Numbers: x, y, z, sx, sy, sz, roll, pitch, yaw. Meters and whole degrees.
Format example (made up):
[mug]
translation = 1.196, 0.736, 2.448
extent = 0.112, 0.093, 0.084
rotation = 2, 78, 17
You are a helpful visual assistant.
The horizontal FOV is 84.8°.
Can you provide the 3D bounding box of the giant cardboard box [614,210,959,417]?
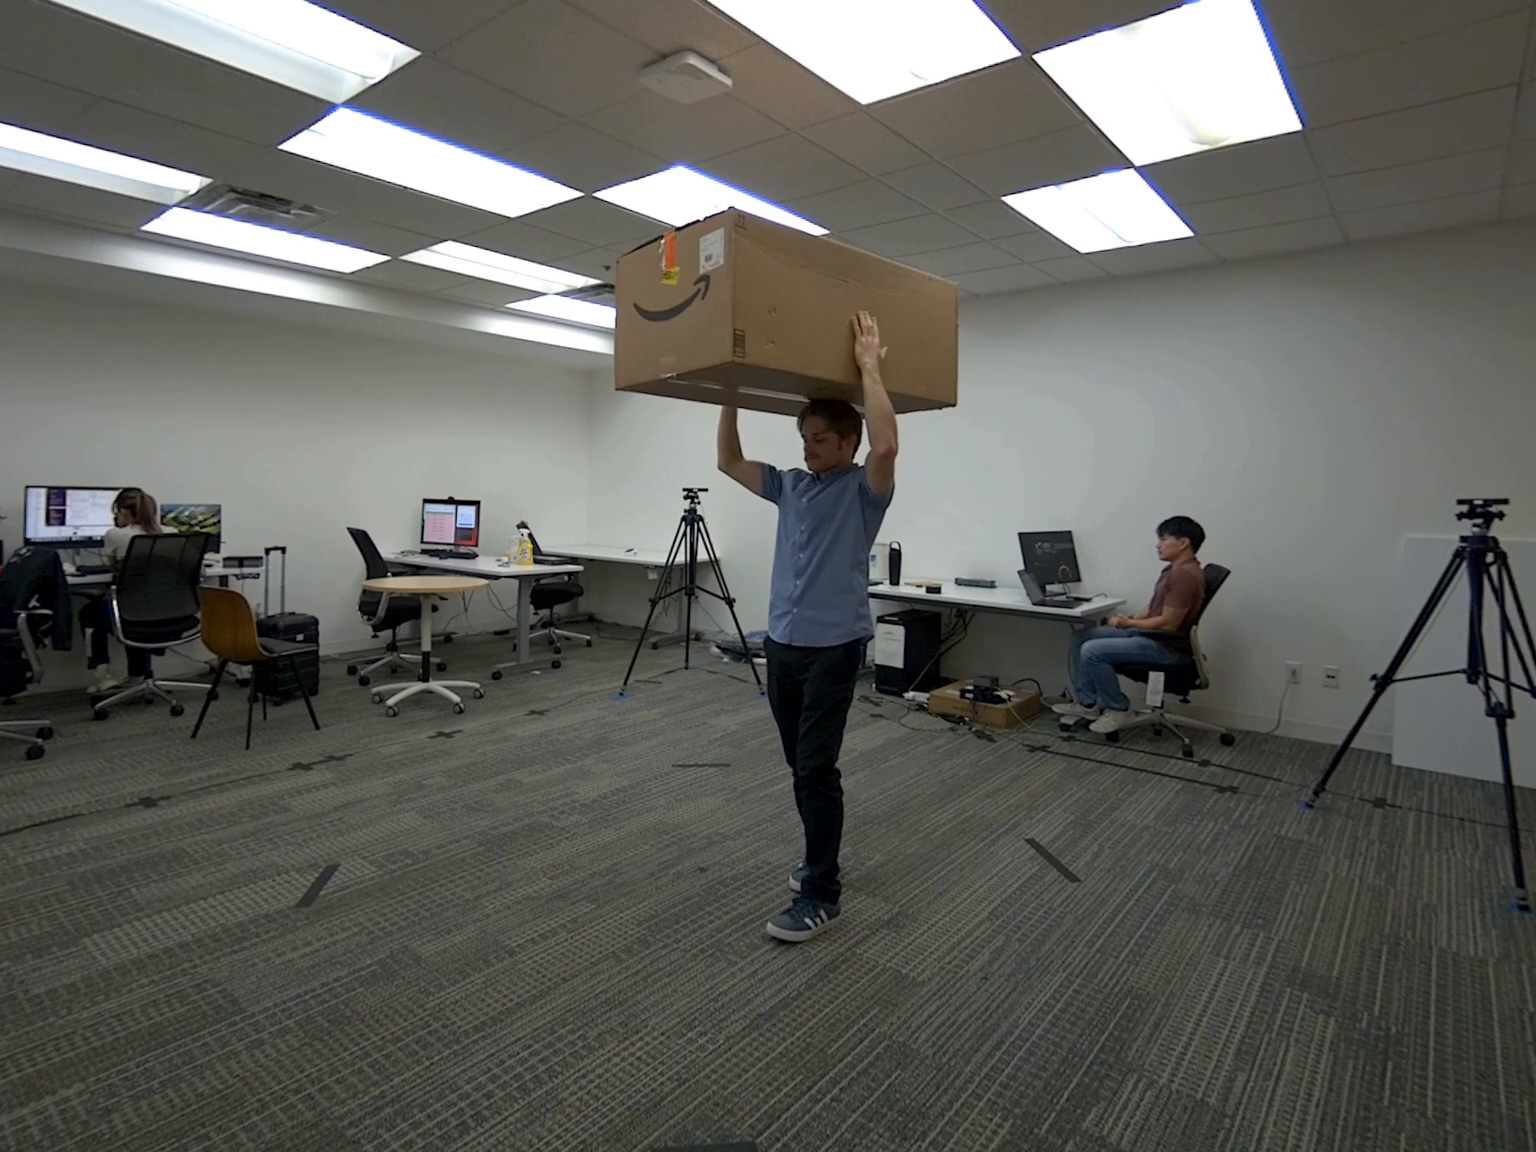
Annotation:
[giant cardboard box]
translation = 0.073, -0.796, 2.796
extent = 0.994, 0.426, 0.596
rotation = -1, 2, -41
